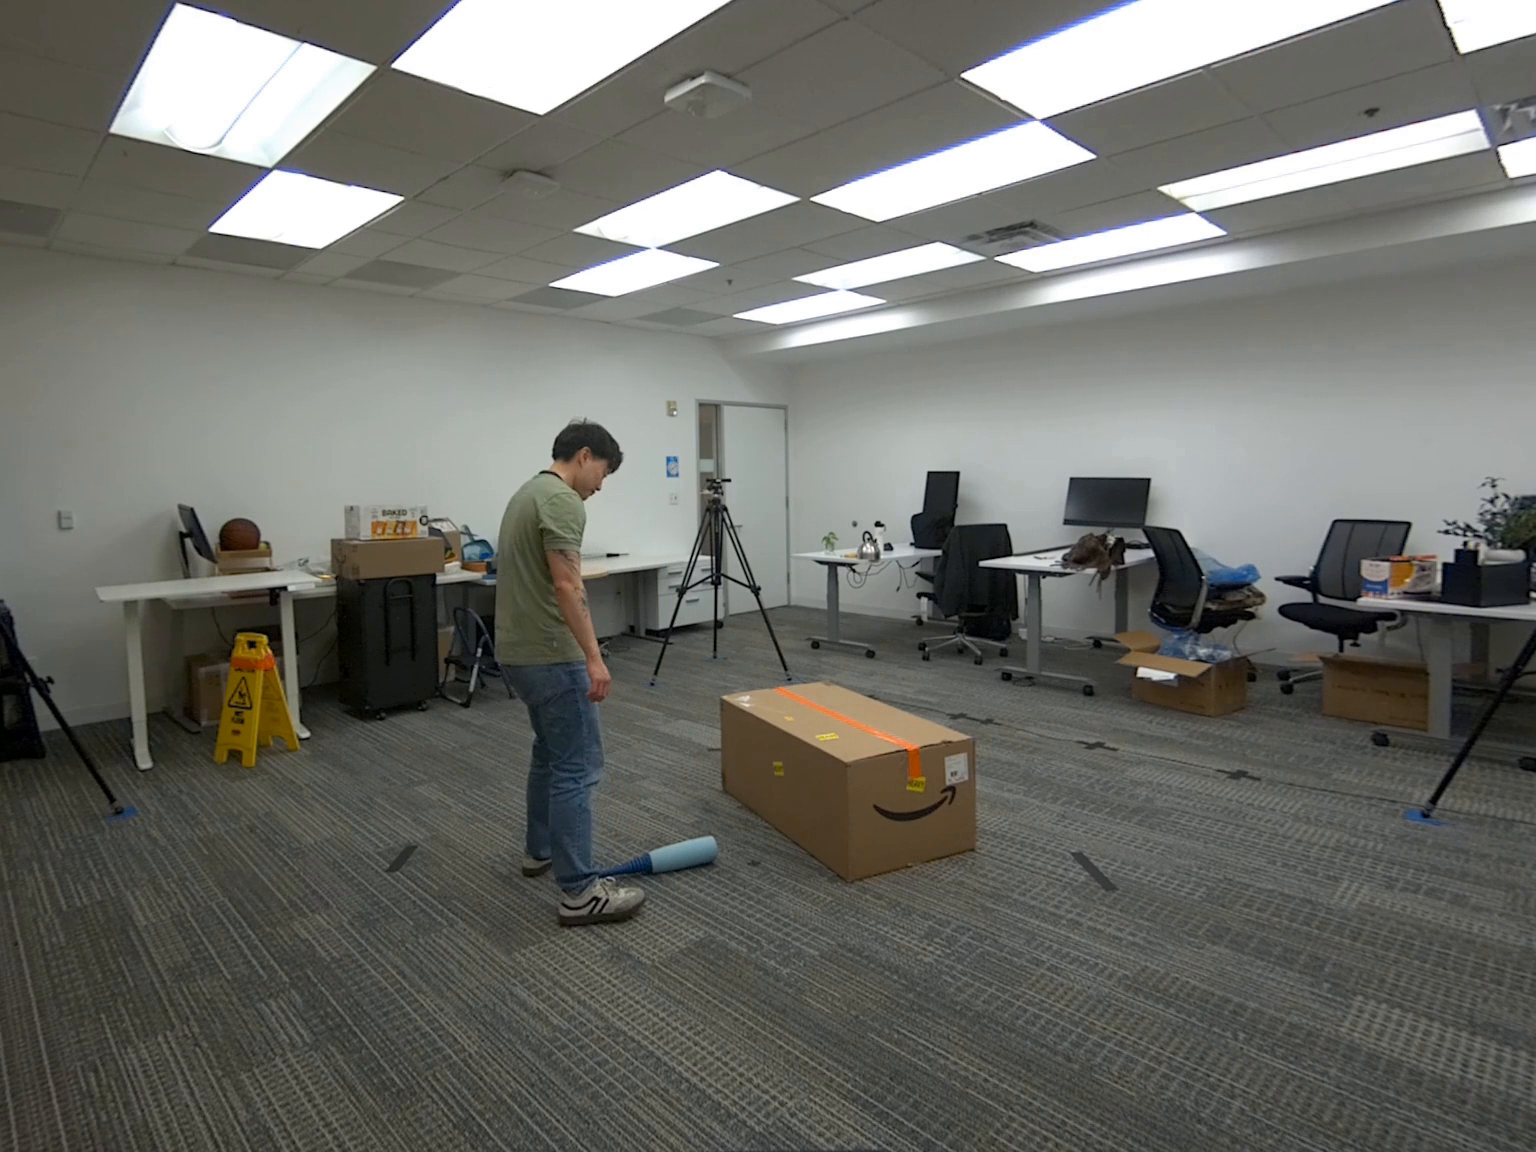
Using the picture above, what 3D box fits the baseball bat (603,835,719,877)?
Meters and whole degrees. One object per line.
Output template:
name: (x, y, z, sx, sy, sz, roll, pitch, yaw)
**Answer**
baseball bat: (-0.437, 1.020, 3.021, 0.534, 0.088, 0.091, -7, 7, -20)
